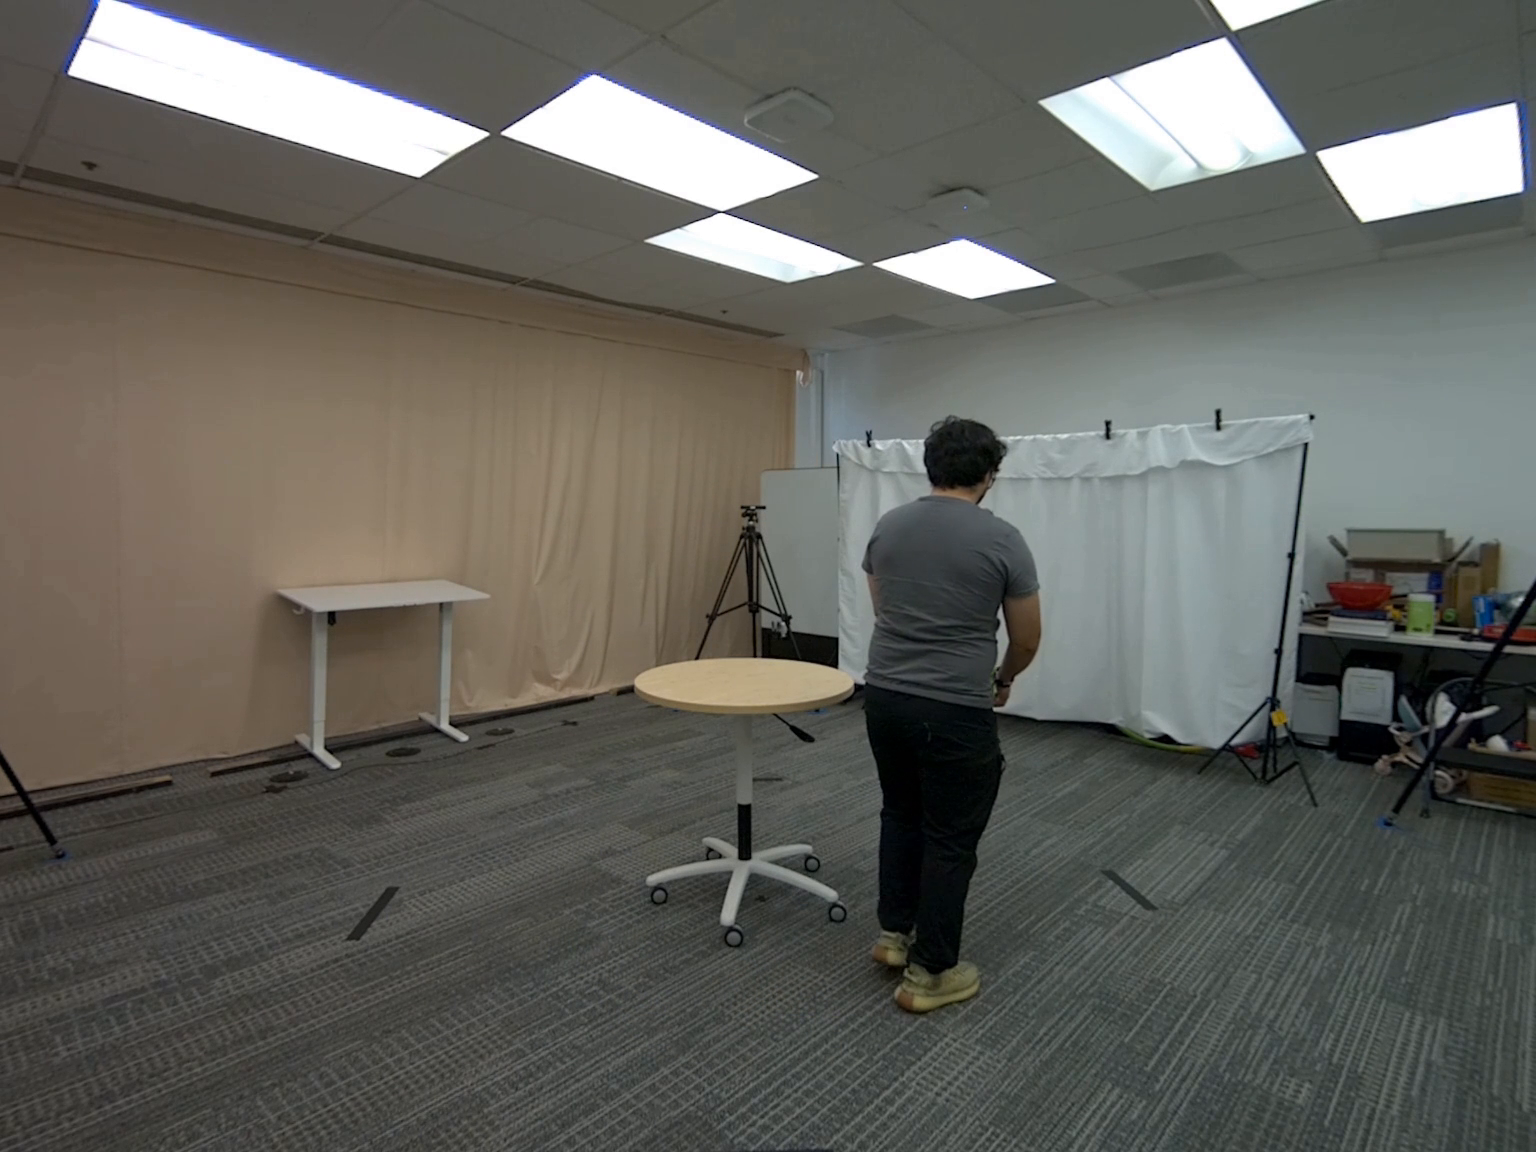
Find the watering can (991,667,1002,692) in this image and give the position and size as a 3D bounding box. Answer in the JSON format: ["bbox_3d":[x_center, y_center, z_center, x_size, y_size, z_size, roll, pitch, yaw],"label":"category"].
[{"bbox_3d":[0.690,0.391,2.664,0.100,0.278,0.173,-10,0,26],"label":"watering can"}]
